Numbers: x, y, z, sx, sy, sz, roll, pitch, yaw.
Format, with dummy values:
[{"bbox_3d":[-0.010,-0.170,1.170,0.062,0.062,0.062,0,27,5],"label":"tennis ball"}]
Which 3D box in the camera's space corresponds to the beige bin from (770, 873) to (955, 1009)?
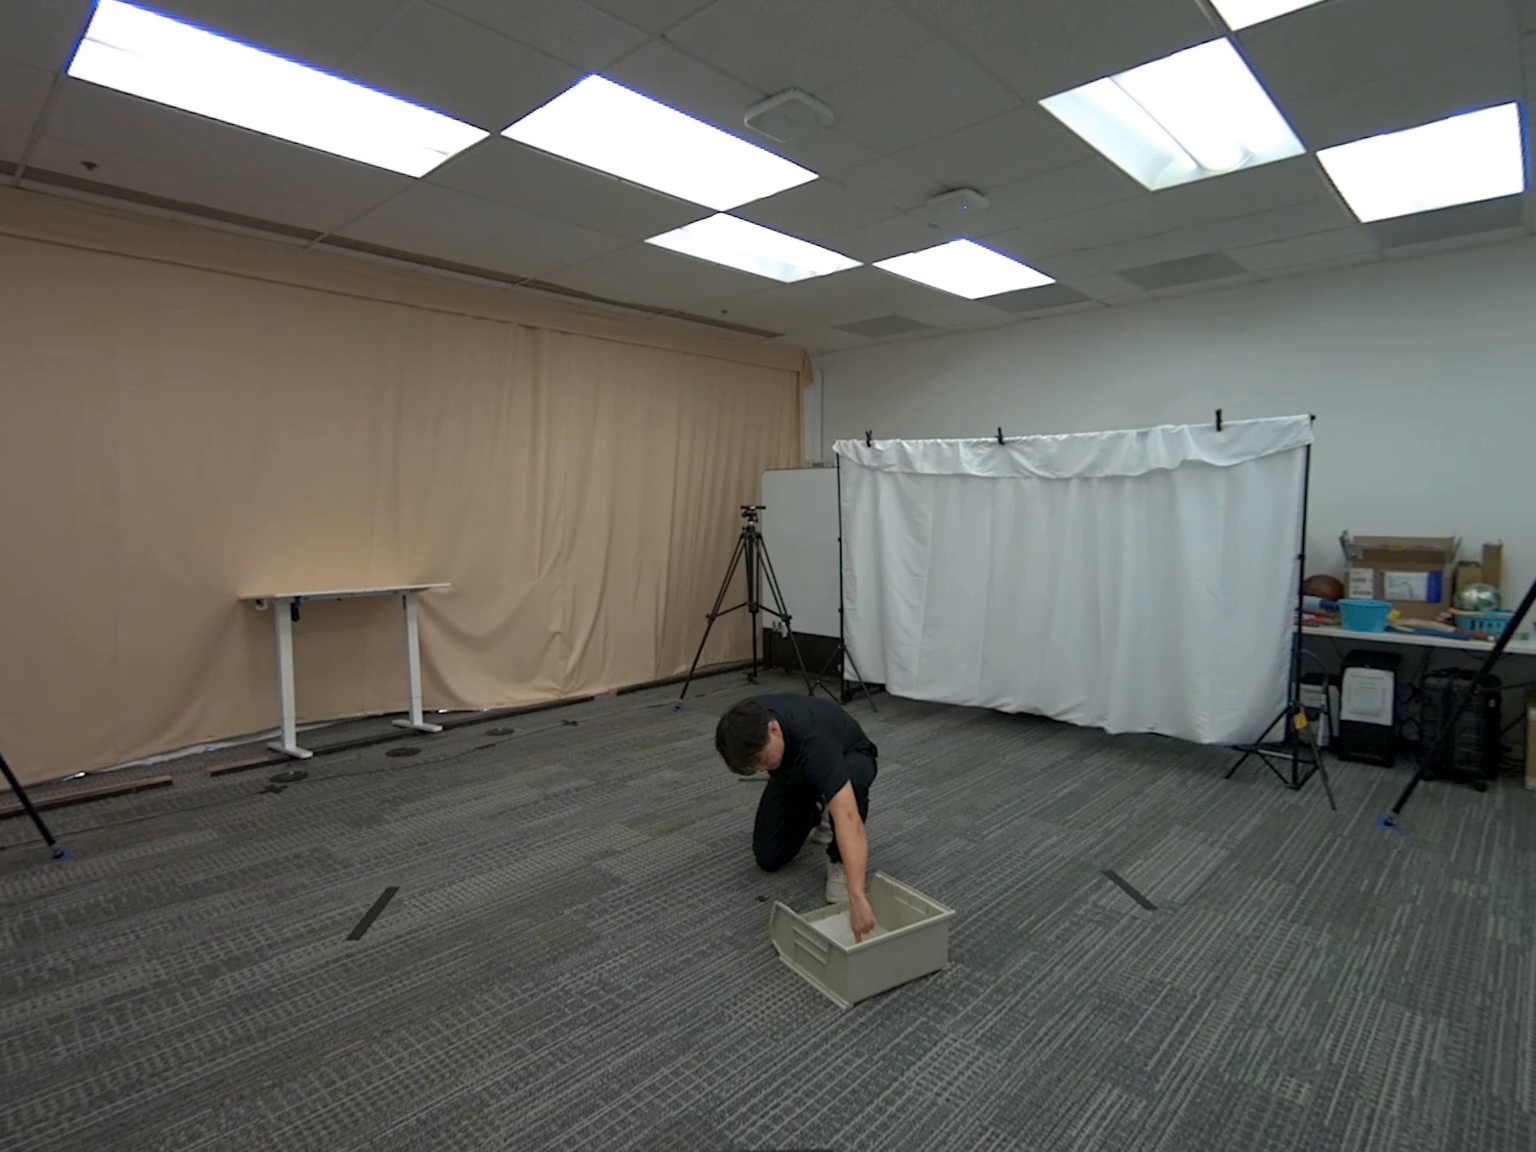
[{"bbox_3d":[0.279,1.082,2.574,0.410,0.188,0.389,-2,5,-33],"label":"beige bin"}]
